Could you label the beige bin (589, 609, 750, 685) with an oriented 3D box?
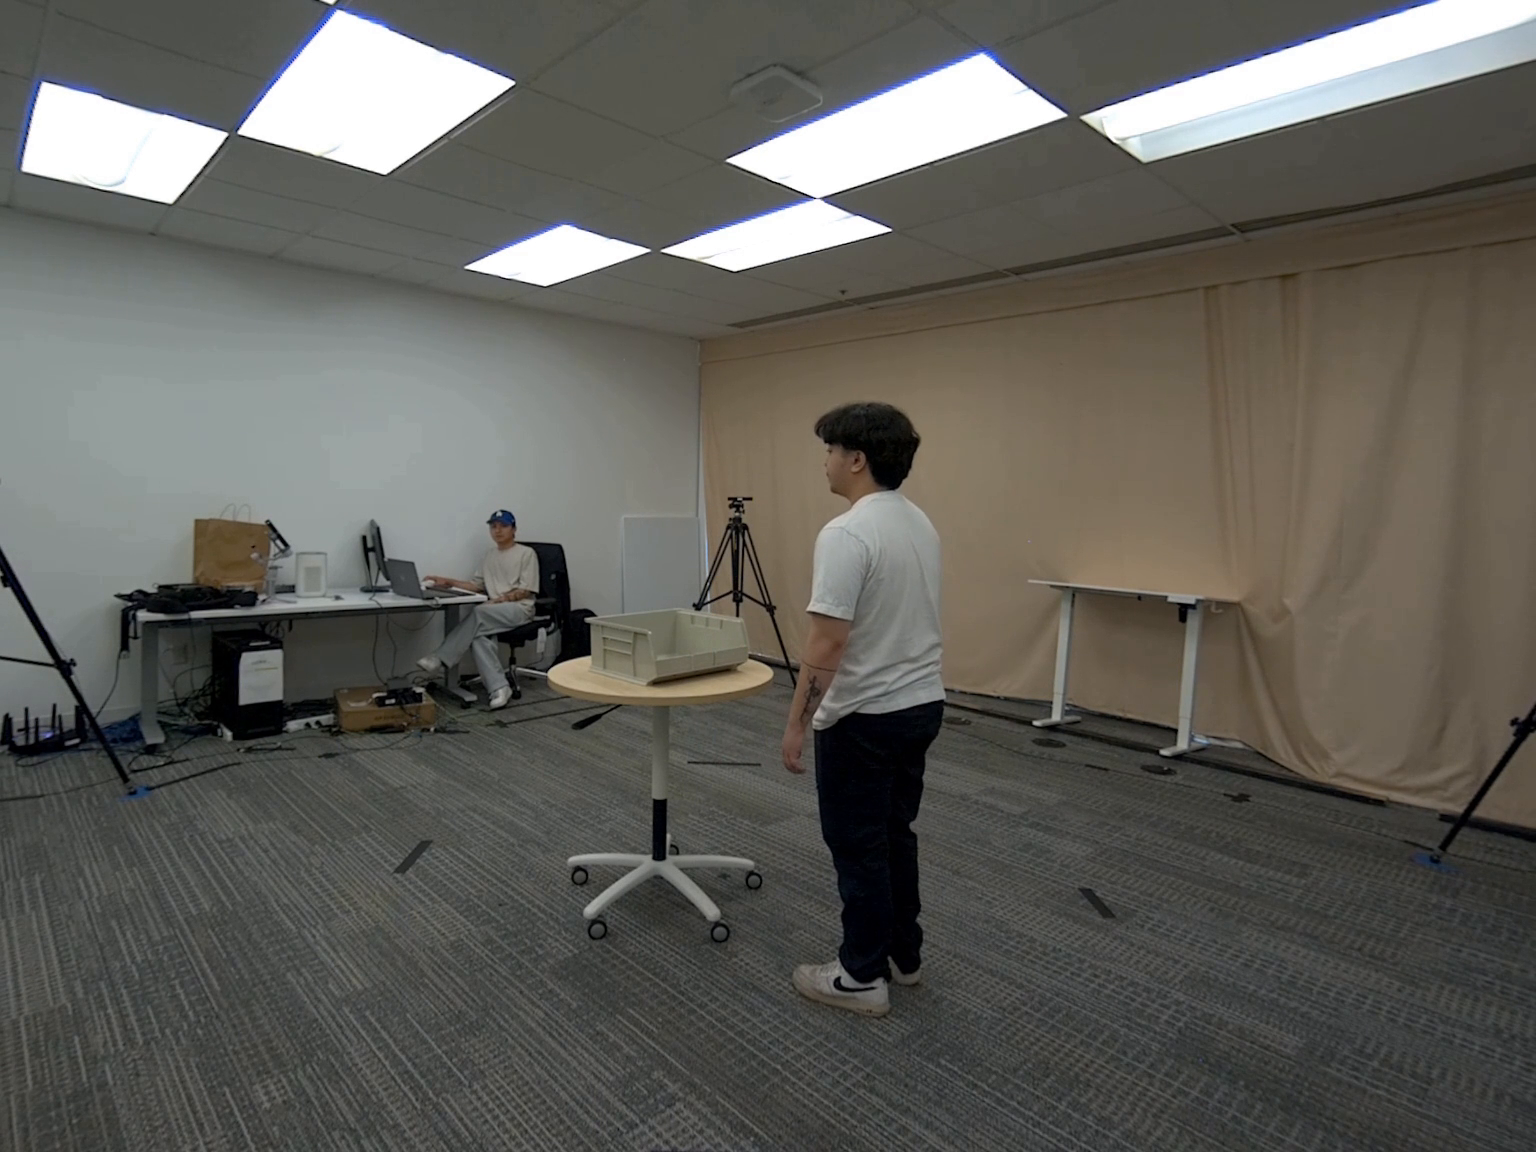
[{"bbox_3d":[-0.343,0.241,2.869,0.387,0.188,0.413,4,6,44],"label":"beige bin"}]
